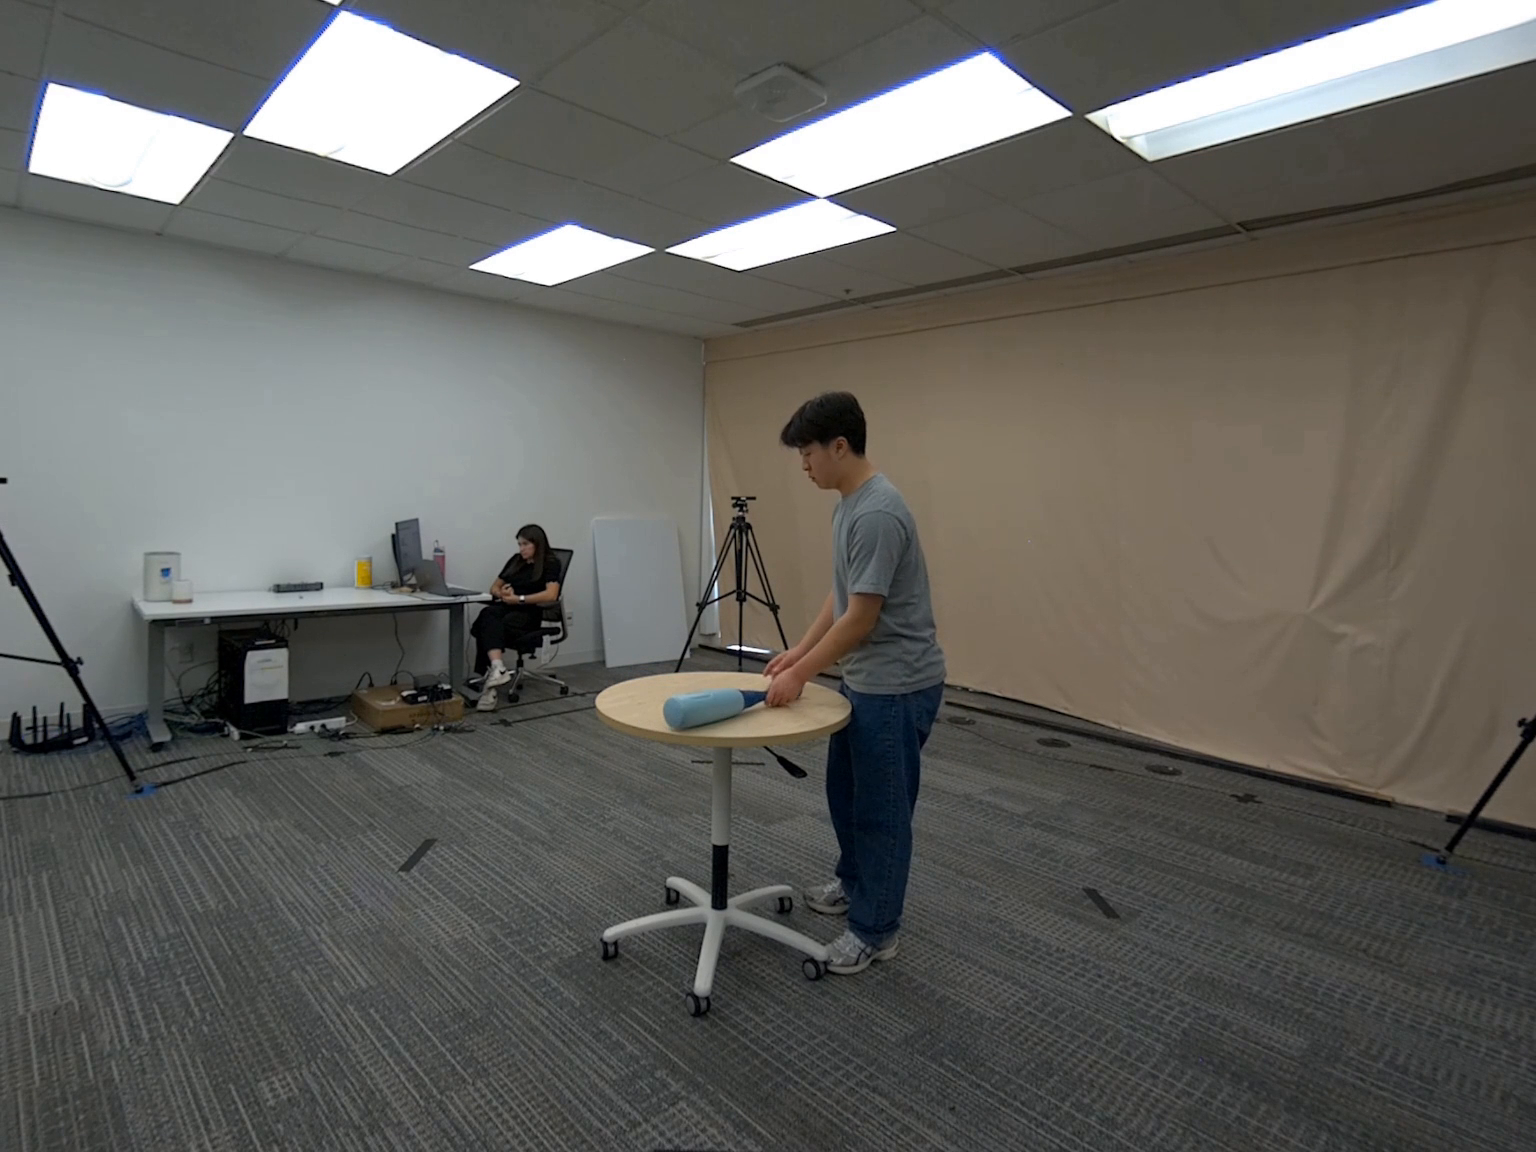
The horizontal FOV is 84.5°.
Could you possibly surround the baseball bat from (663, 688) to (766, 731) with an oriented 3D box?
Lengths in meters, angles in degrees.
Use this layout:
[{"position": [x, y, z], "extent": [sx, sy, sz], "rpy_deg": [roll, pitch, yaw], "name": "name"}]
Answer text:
[{"position": [-0.097, 0.359, 2.387], "extent": [0.091, 0.089, 0.530], "rpy_deg": [5, 2, 39], "name": "baseball bat"}]
